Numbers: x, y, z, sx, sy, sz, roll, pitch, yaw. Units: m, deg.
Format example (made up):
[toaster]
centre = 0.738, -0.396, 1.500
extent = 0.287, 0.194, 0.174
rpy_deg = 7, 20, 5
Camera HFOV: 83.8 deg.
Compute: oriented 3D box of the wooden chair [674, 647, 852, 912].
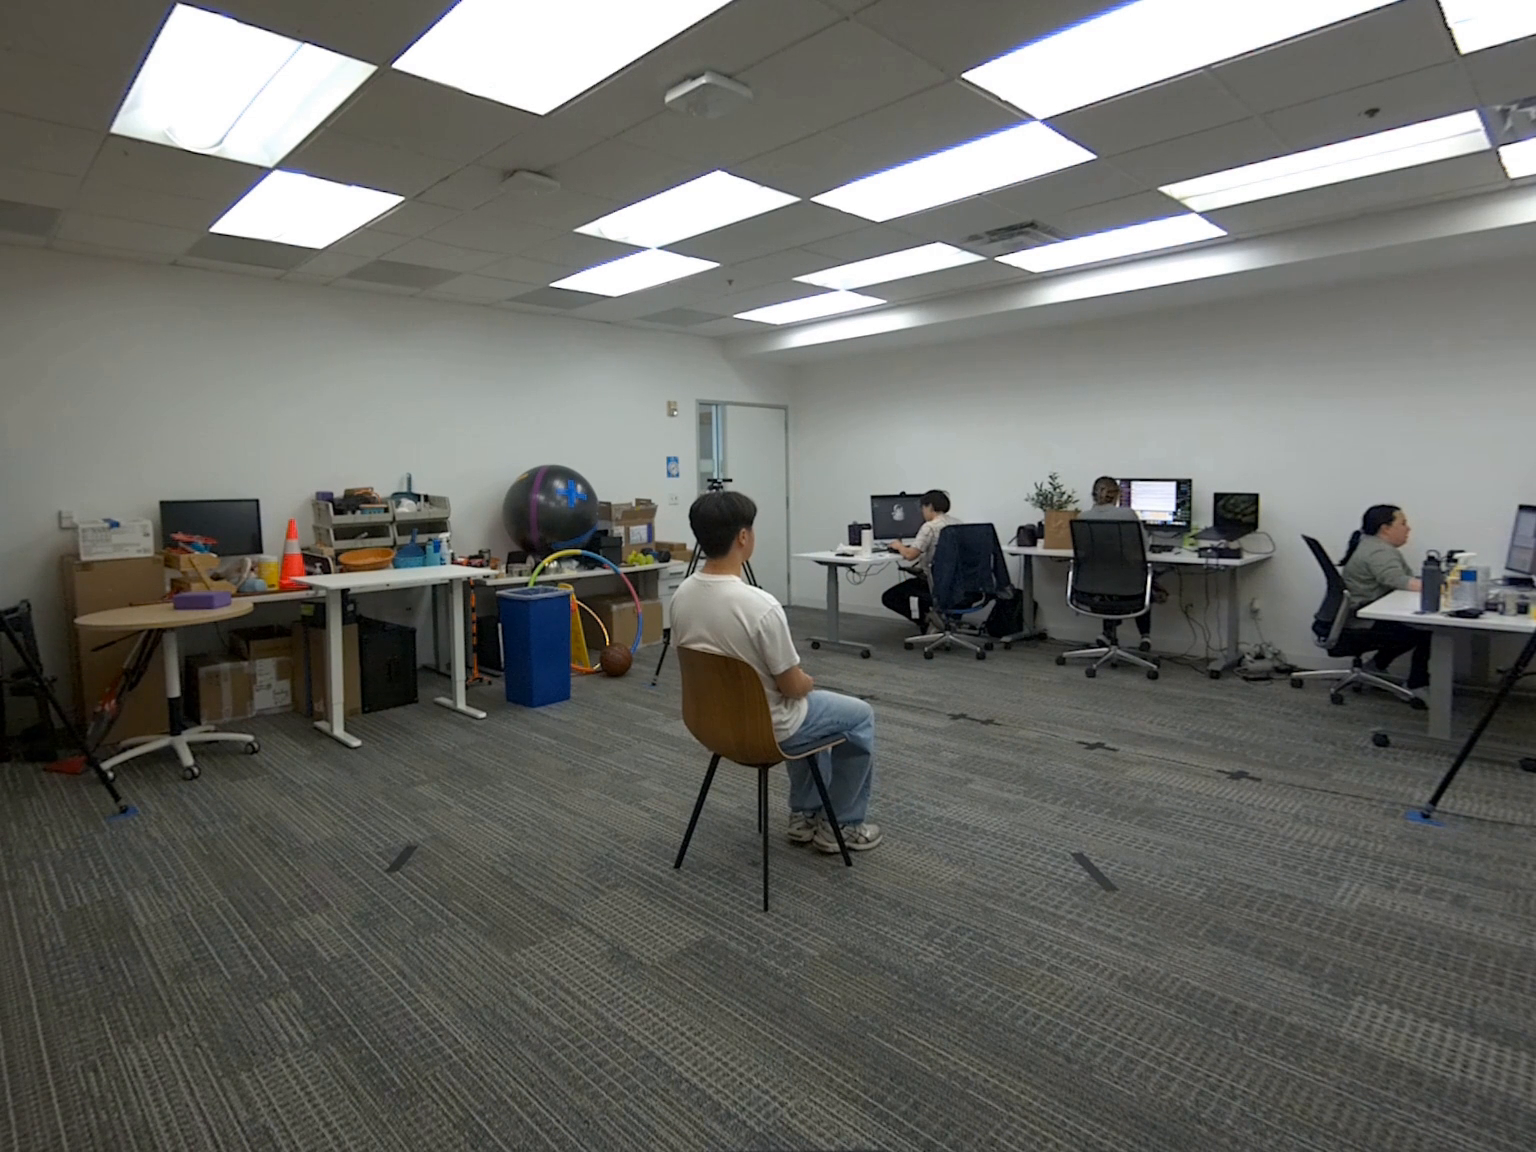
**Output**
[wooden chair]
centre = -0.023, 0.626, 3.038
extent = 0.493, 0.871, 0.511
rpy_deg = 4, 11, 44
